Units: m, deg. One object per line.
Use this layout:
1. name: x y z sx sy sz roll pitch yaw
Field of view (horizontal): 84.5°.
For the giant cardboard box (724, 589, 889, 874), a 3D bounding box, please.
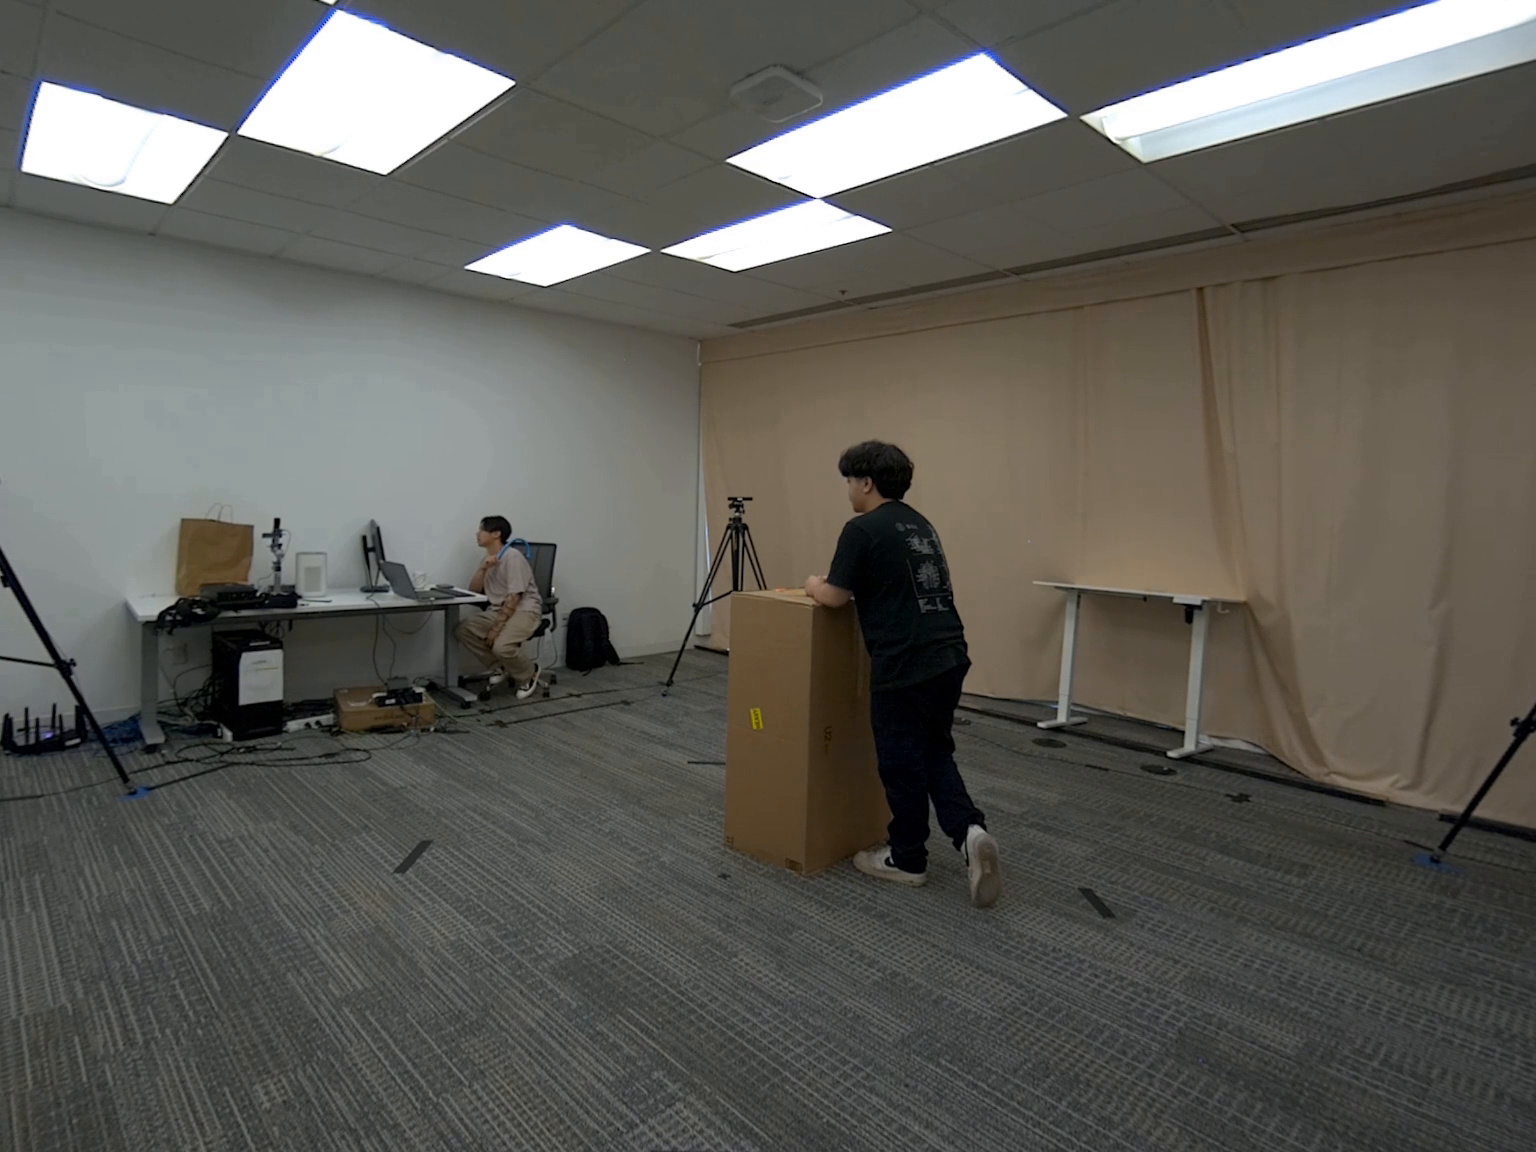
1. giant cardboard box: 0.171 0.577 3.439 0.458 1.025 0.570 4 3 44
